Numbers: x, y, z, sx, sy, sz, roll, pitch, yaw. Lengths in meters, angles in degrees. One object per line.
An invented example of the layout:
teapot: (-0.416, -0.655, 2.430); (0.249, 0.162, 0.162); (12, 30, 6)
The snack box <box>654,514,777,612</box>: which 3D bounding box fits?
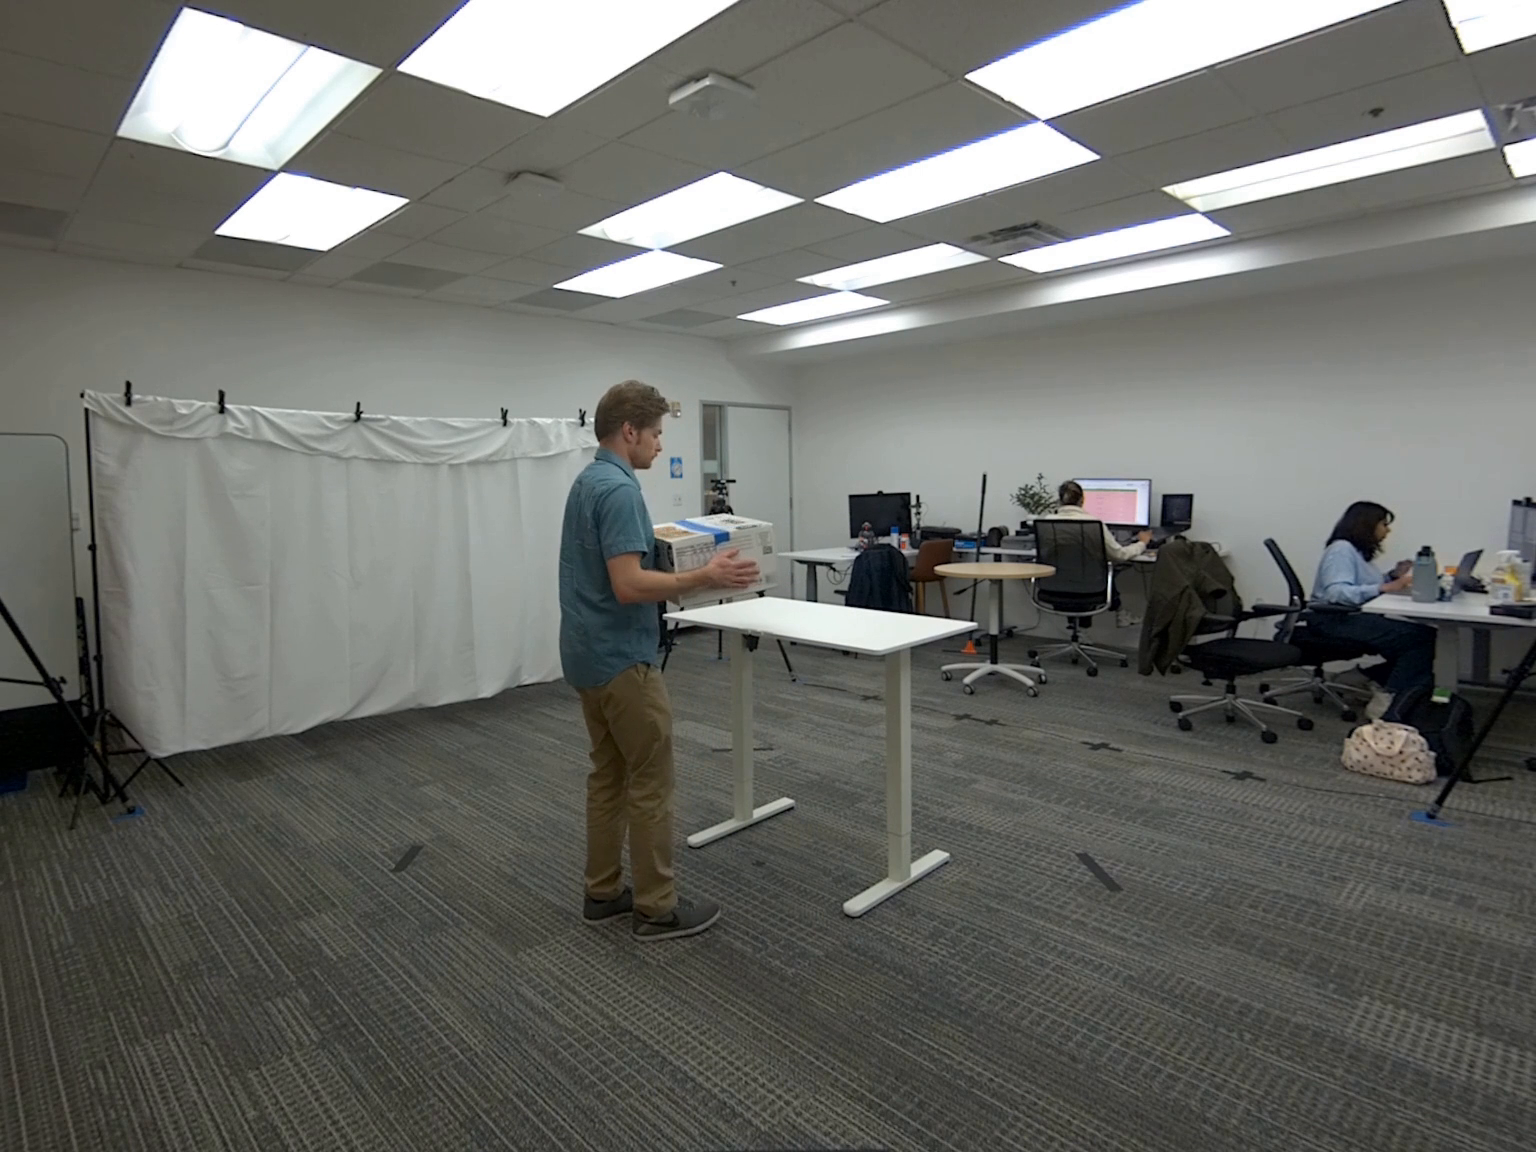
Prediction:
snack box: (-0.209, -0.059, 2.769); (0.335, 0.203, 0.416); (-12, 12, -22)
